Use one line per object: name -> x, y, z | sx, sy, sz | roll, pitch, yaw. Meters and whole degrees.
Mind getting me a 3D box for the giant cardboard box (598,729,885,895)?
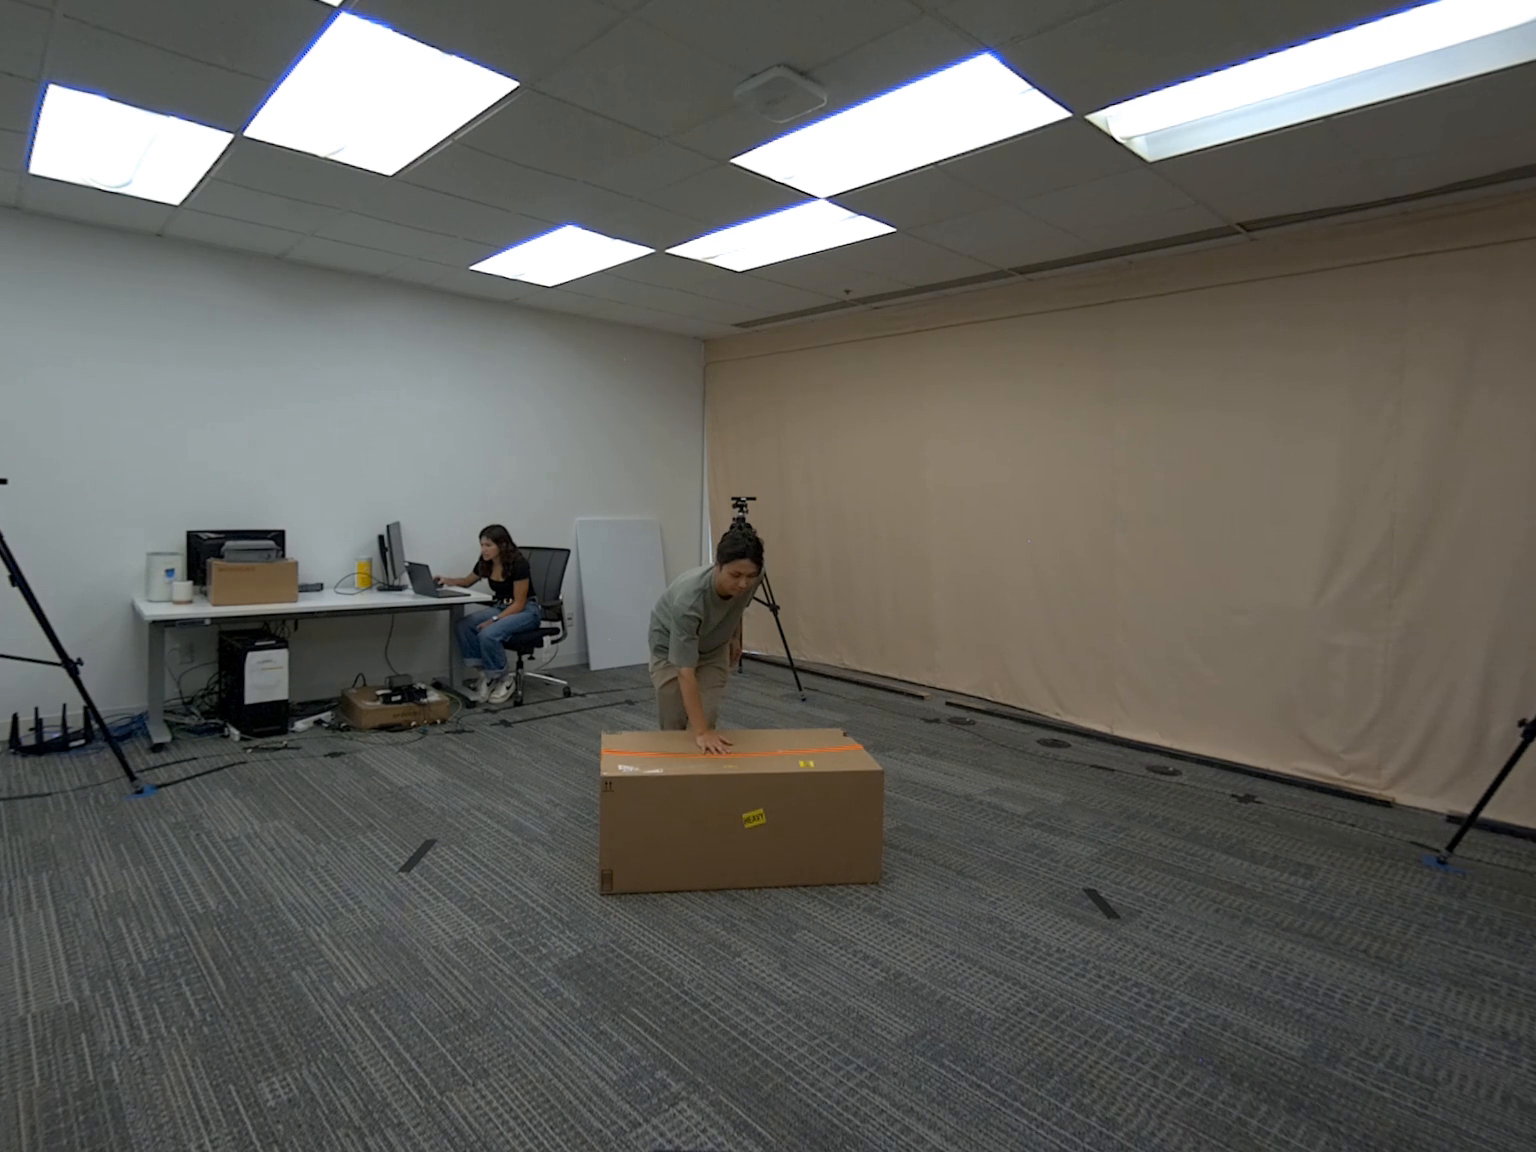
giant cardboard box -> -0.143, 0.877, 3.268 | 1.018, 0.425, 0.583 | 1, 4, -9
